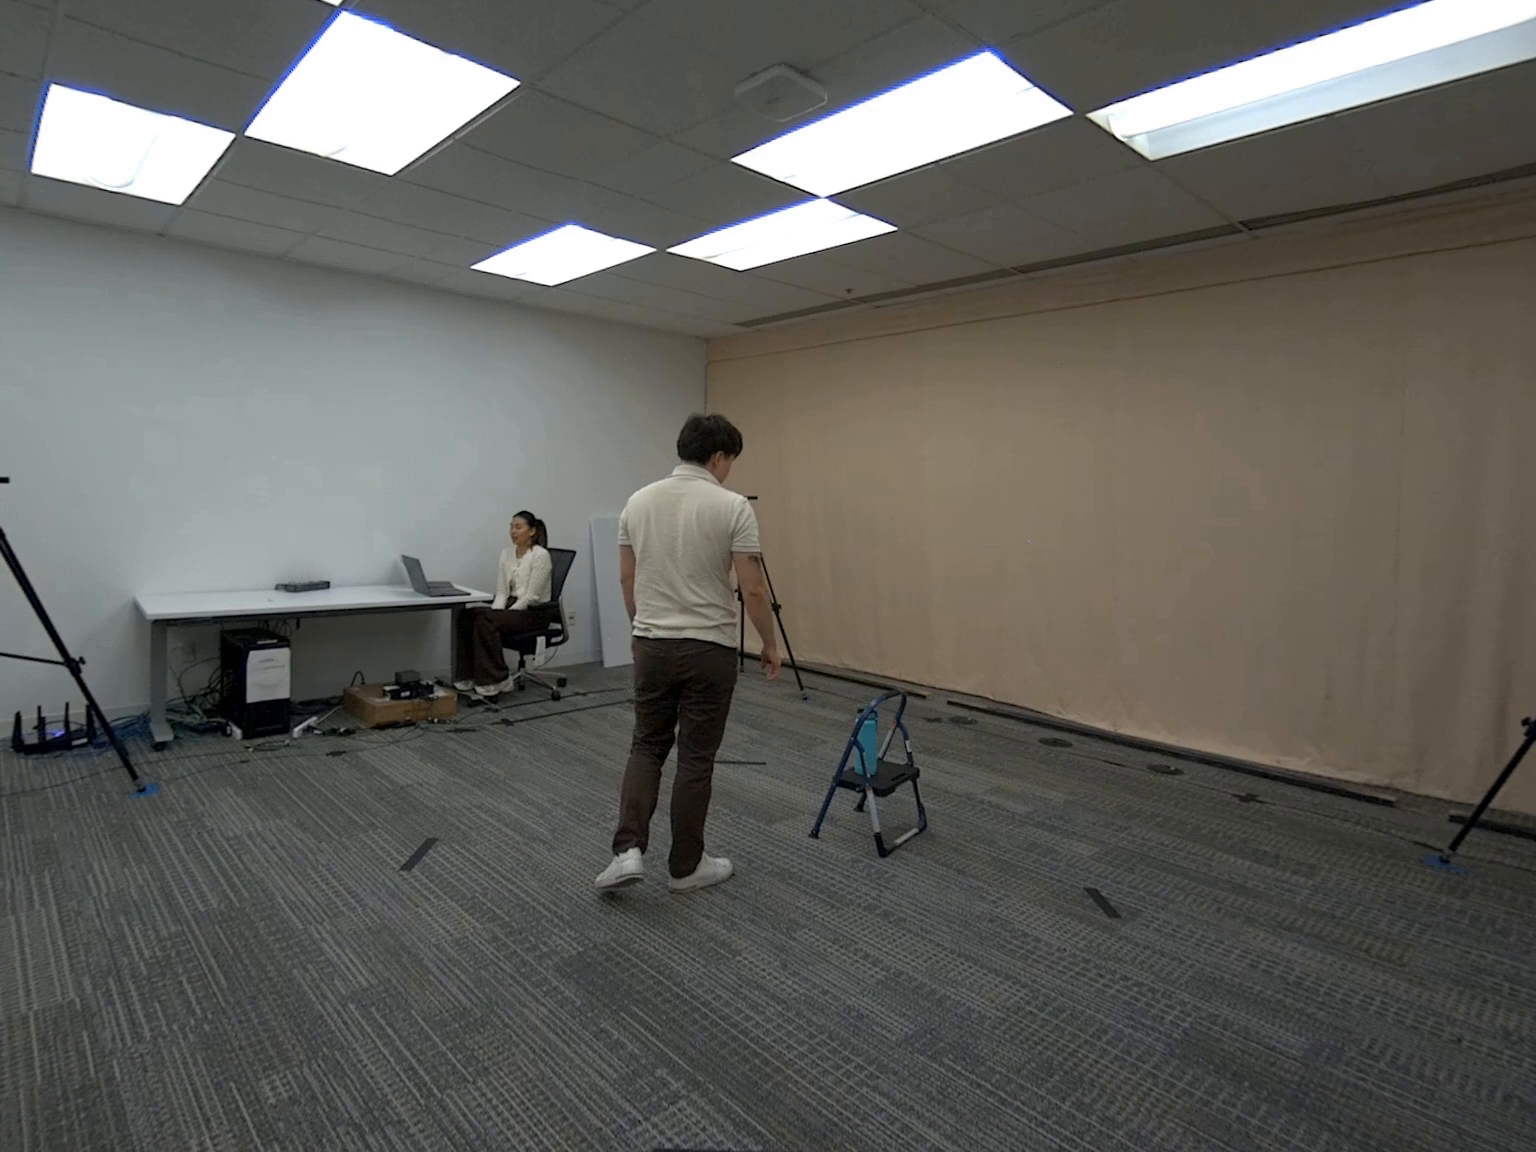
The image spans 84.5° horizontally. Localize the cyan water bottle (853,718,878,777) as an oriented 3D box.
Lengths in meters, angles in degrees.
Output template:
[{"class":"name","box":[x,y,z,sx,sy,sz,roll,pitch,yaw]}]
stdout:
[{"class":"cyan water bottle","box":[0.406,0.679,3.502,0.092,0.282,0.092,3,4,-2]}]
